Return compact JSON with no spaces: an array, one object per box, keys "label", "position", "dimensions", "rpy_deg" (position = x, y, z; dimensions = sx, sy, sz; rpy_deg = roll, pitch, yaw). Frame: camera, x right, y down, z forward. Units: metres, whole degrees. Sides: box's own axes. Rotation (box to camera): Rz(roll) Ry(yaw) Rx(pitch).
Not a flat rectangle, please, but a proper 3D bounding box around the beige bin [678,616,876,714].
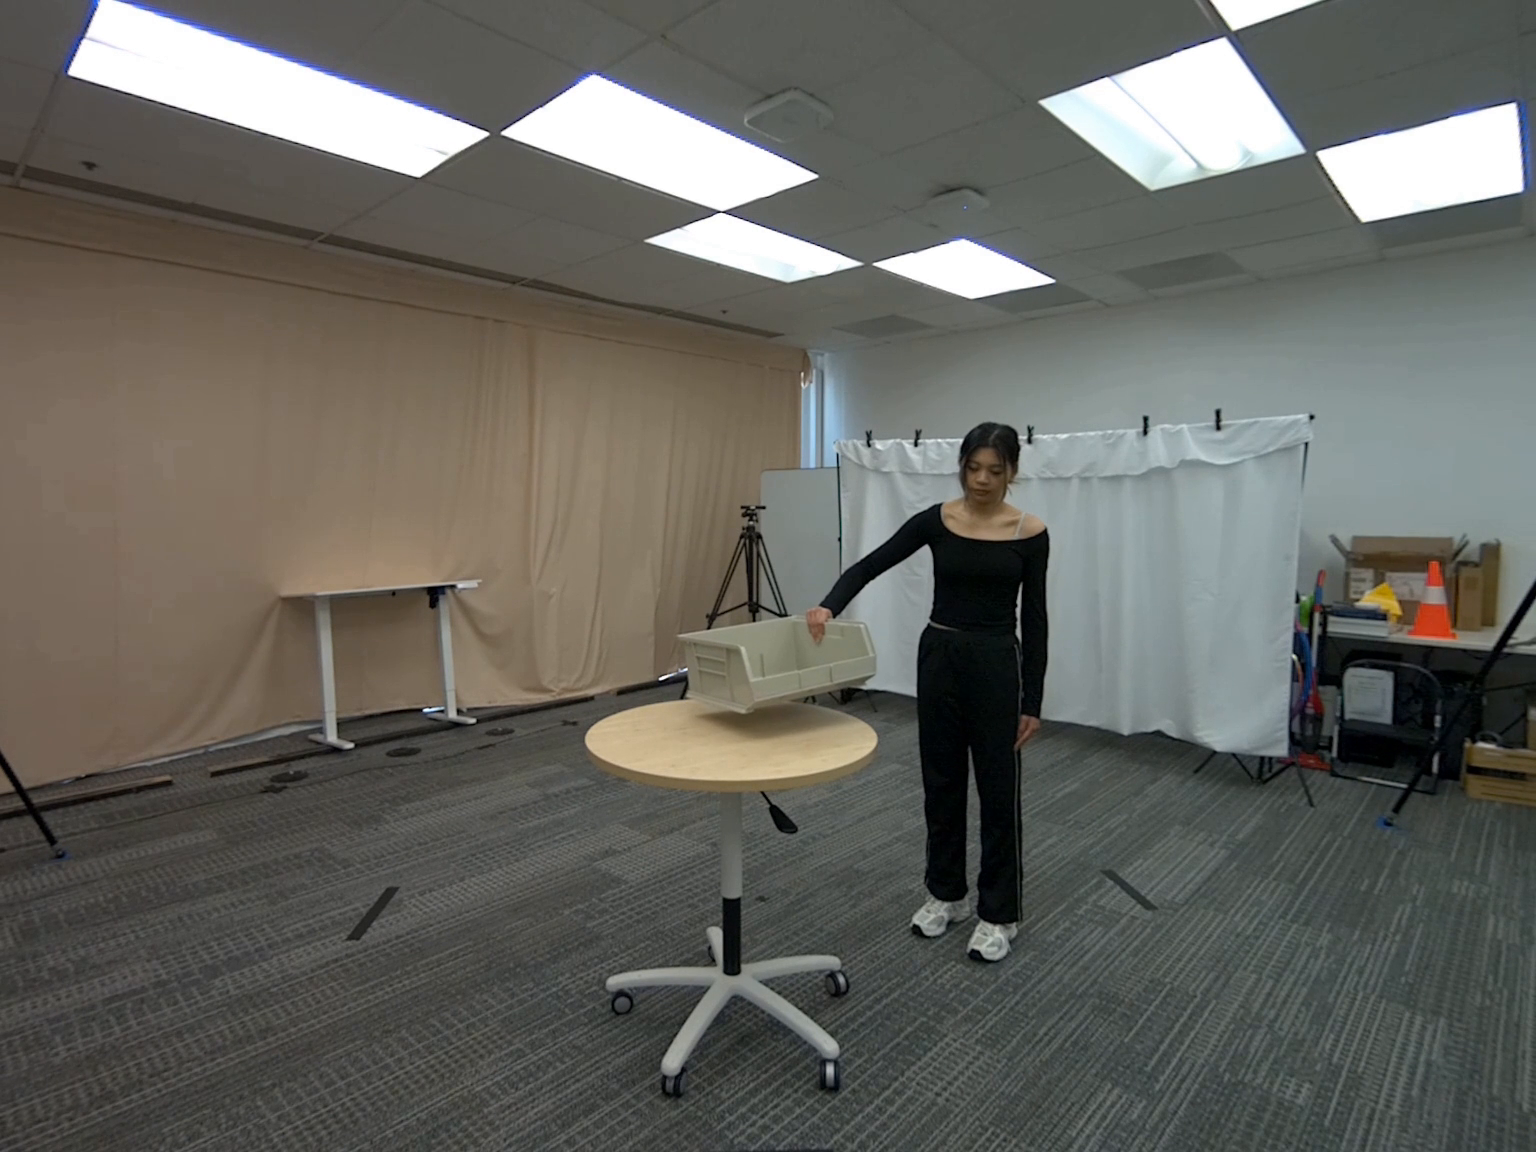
[{"label":"beige bin","position":[0.029,0.239,2.363],"dimensions":[0.411,0.189,0.388],"rpy_deg":[-8,3,-33]}]
